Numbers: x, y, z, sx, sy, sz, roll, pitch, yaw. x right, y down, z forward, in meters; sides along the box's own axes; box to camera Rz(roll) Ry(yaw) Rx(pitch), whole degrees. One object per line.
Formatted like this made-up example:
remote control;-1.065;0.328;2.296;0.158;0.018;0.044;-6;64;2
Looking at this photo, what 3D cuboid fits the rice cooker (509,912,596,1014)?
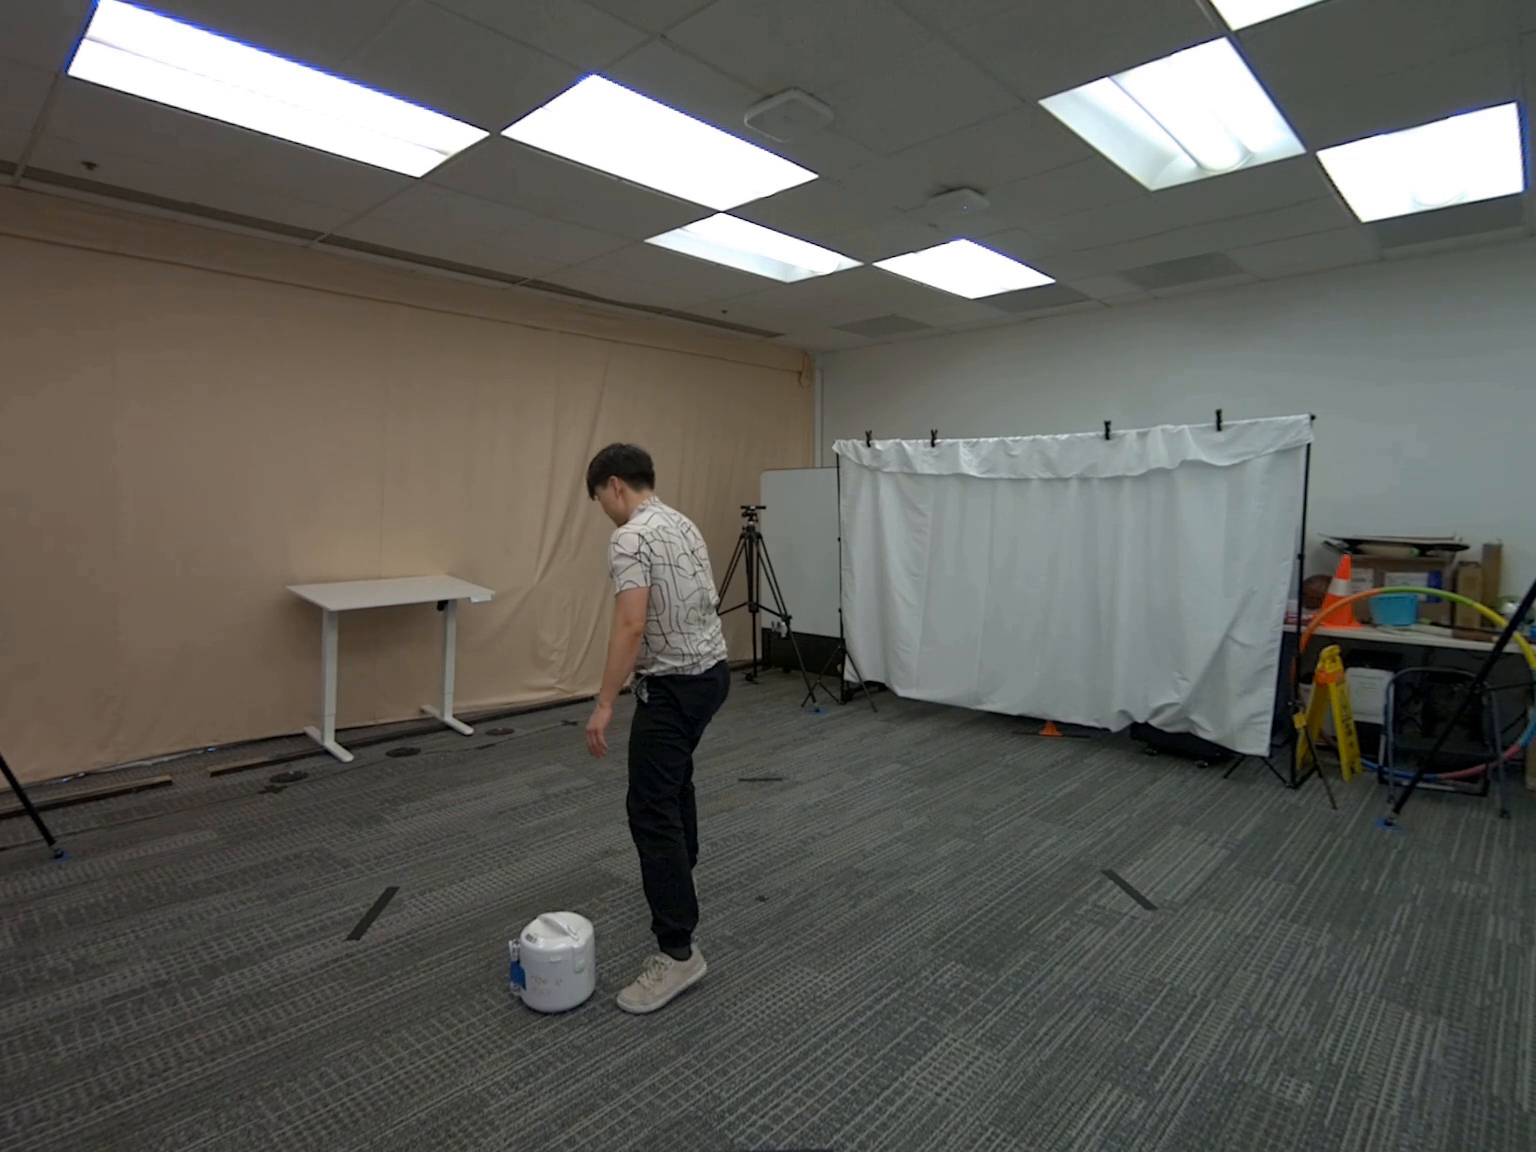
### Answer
rice cooker;-0.598;1.084;2.389;0.228;0.232;0.211;3;5;40
